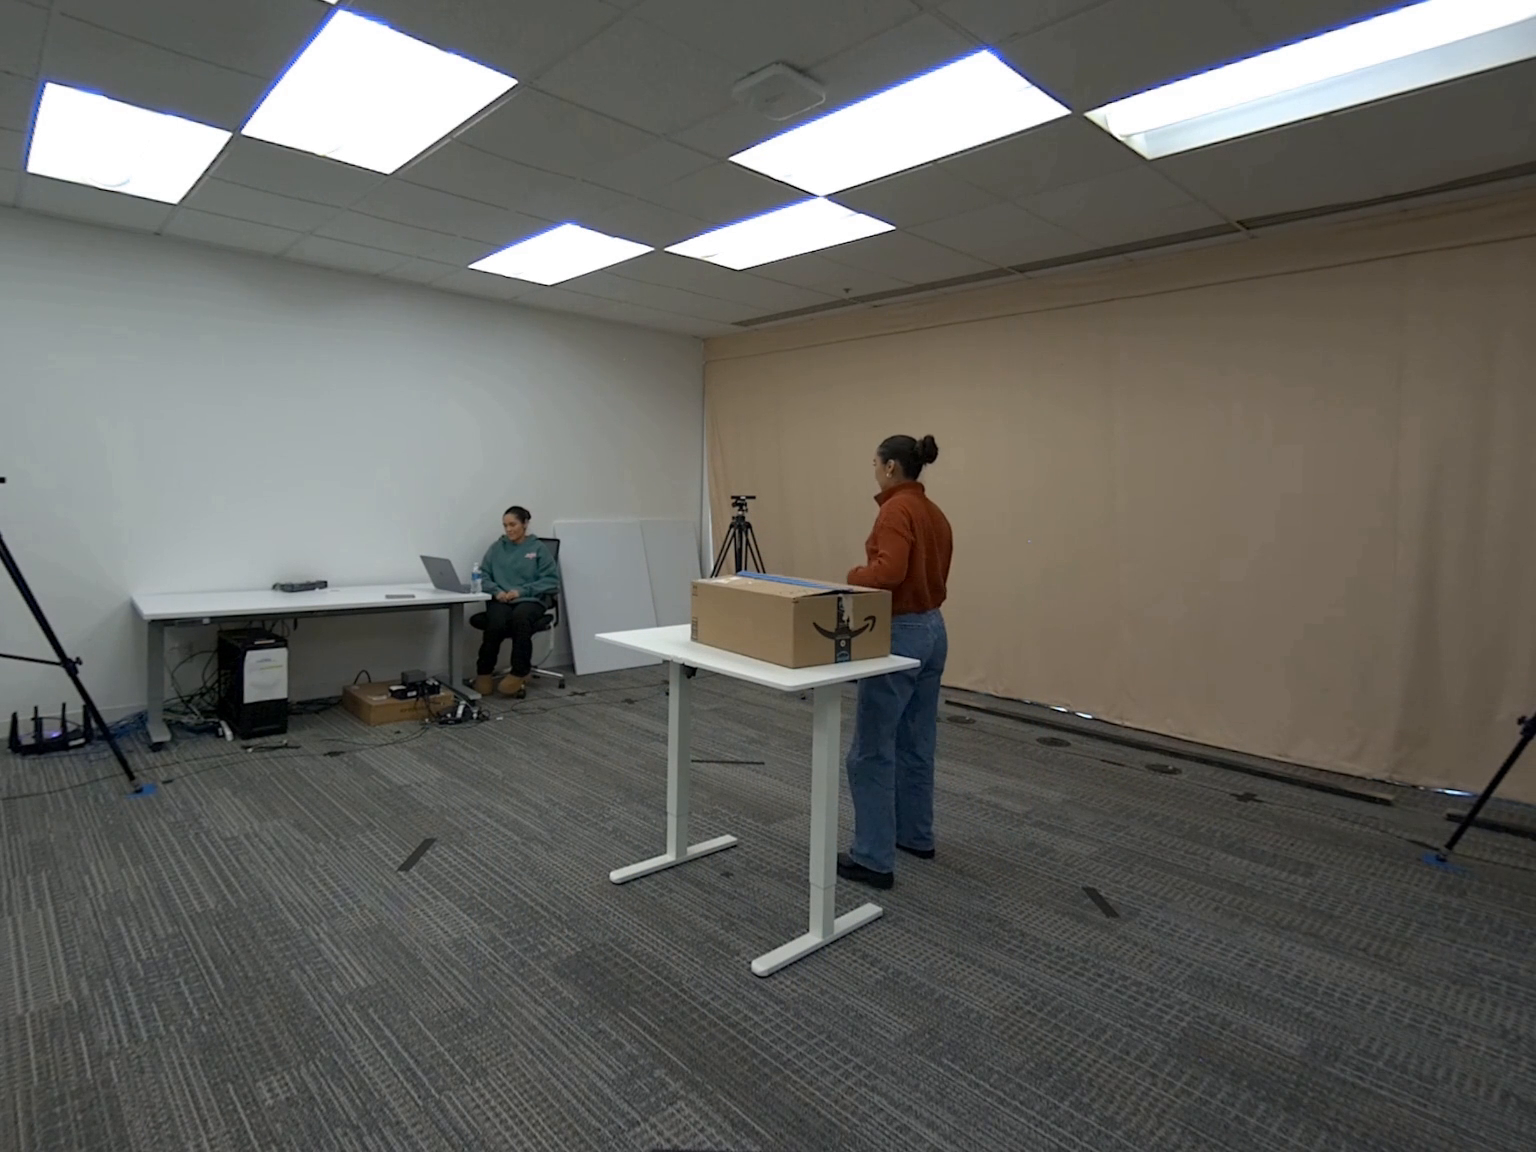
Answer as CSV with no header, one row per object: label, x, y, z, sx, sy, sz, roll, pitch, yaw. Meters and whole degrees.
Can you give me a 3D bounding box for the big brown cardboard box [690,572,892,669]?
big brown cardboard box,0.060,0.139,2.865,0.408,0.232,0.604,-3,8,-37
